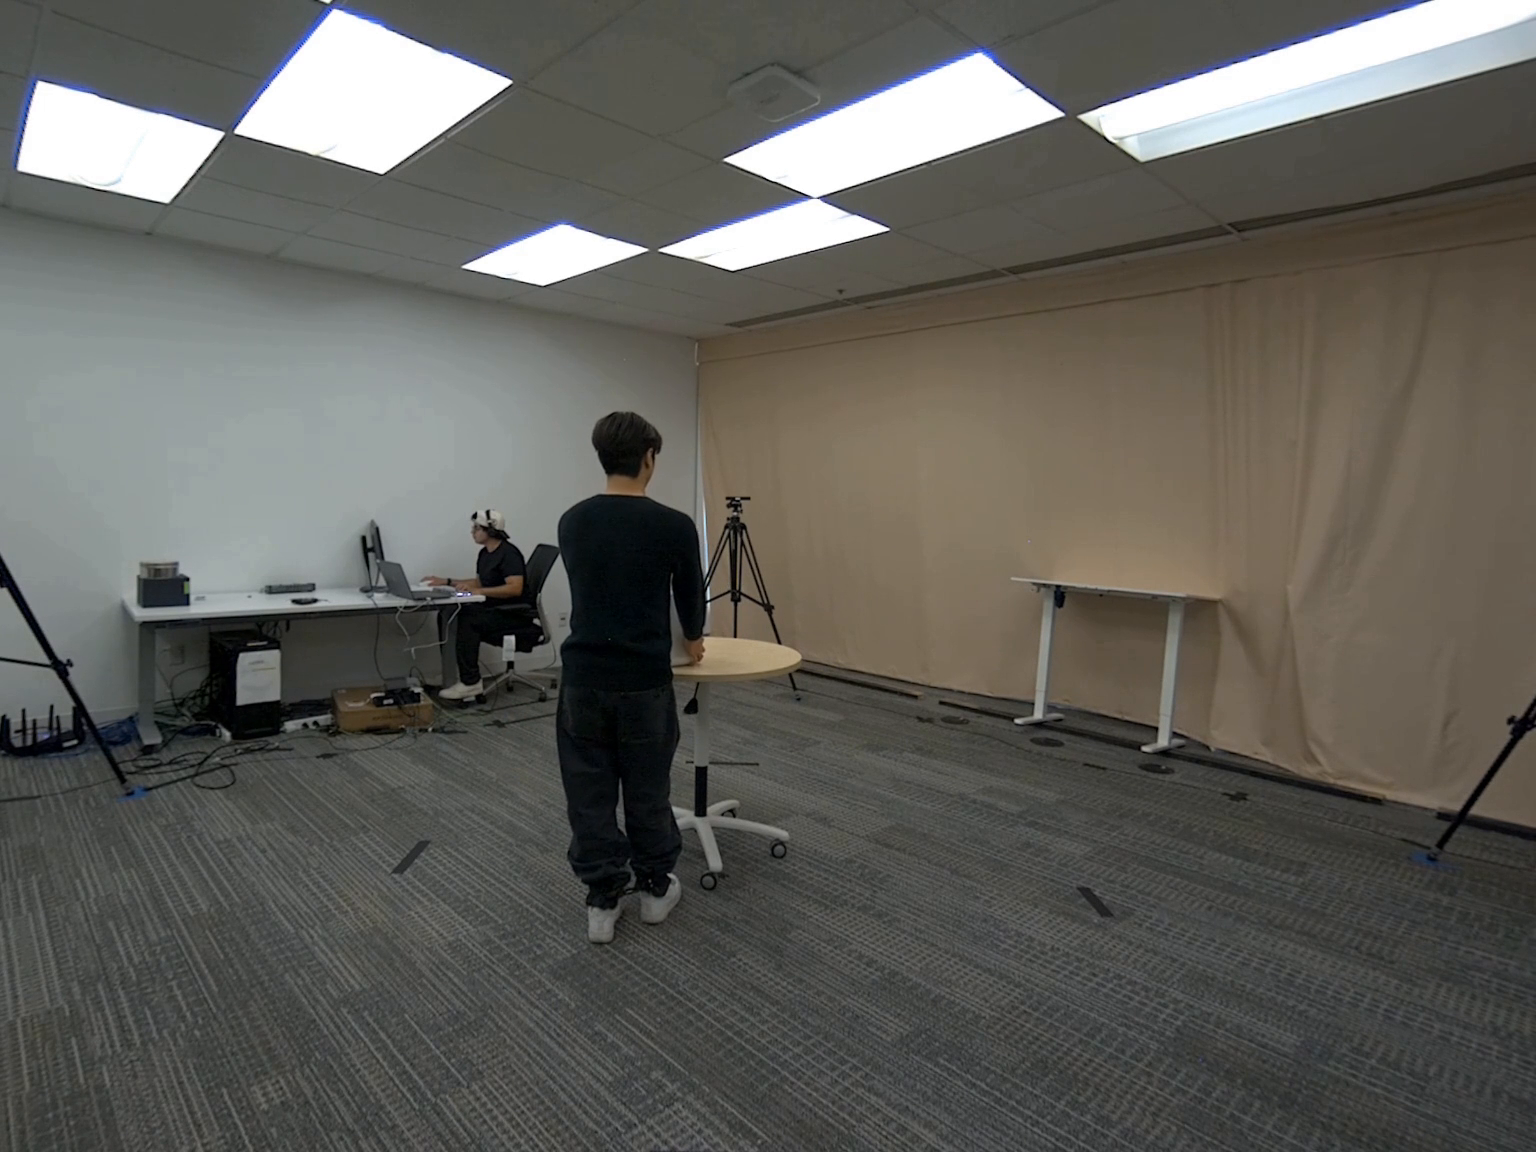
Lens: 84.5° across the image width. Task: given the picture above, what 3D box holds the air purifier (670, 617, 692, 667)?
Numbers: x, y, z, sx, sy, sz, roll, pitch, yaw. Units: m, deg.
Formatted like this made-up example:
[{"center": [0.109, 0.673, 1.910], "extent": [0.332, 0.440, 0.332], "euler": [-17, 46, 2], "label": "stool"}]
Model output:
[{"center": [-0.349, 0.189, 3.093], "extent": [0.175, 0.265, 0.168], "euler": [4, 5, 44], "label": "air purifier"}]
